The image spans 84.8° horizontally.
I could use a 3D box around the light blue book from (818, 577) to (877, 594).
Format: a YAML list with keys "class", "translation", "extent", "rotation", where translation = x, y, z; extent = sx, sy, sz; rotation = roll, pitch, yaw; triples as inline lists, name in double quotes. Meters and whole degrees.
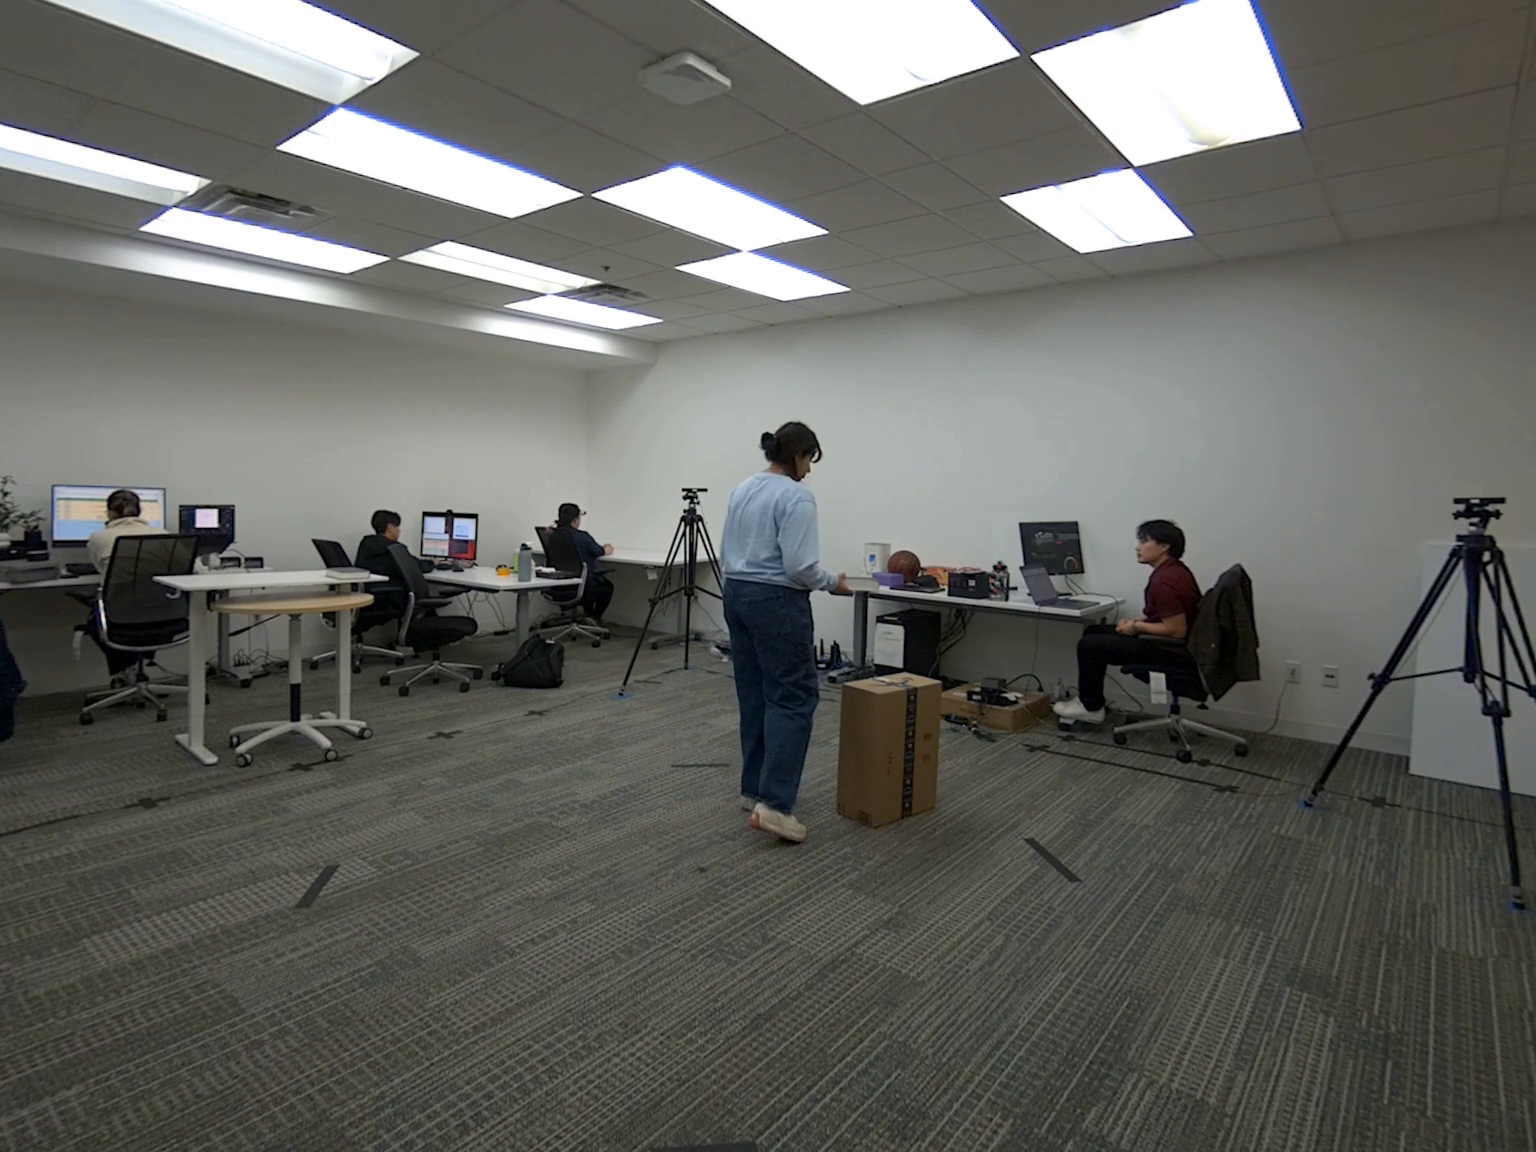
- class: "light blue book"
  translation: [0.325, 0.037, 3.683]
  extent: [0.267, 0.059, 0.186]
  rotation: [2, -3, 20]
